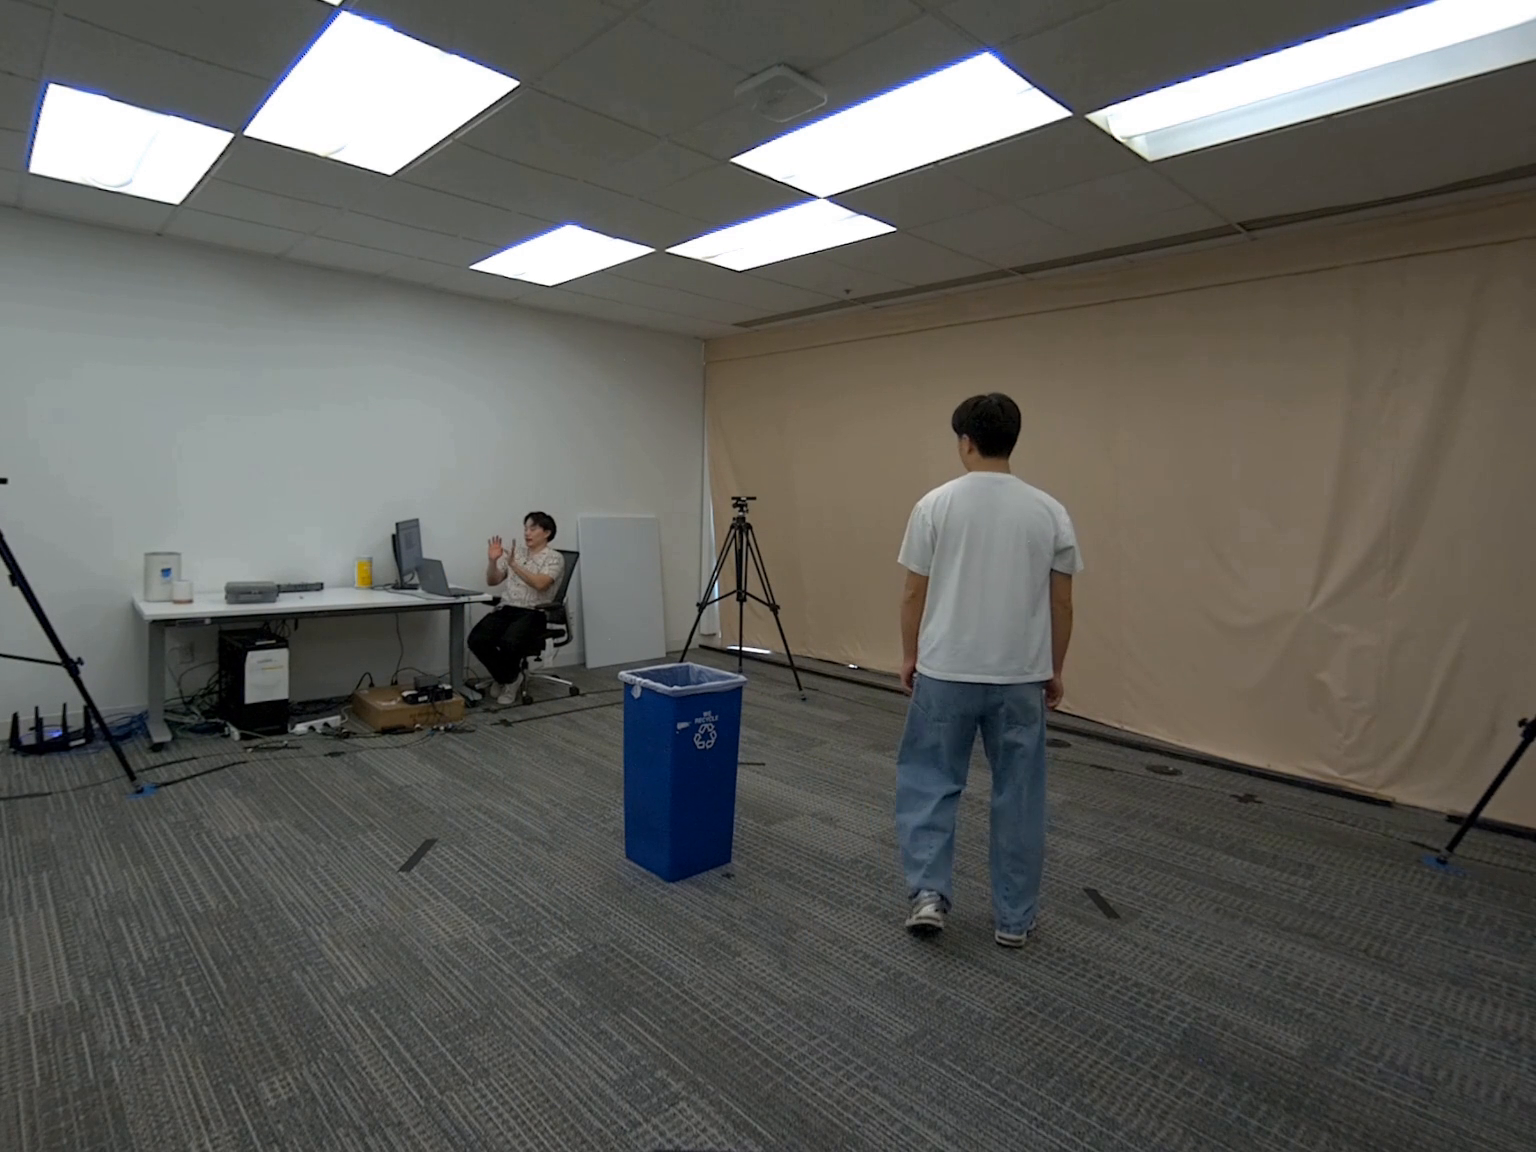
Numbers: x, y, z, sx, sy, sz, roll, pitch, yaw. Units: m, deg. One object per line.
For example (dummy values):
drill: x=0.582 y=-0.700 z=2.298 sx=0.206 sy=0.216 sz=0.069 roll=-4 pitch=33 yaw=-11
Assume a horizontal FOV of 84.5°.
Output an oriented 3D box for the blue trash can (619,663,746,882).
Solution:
blue trash can: x=-0.339 y=0.732 z=3.228 sx=0.365 sy=0.712 sz=0.388 roll=-2 pitch=5 yaw=-43
